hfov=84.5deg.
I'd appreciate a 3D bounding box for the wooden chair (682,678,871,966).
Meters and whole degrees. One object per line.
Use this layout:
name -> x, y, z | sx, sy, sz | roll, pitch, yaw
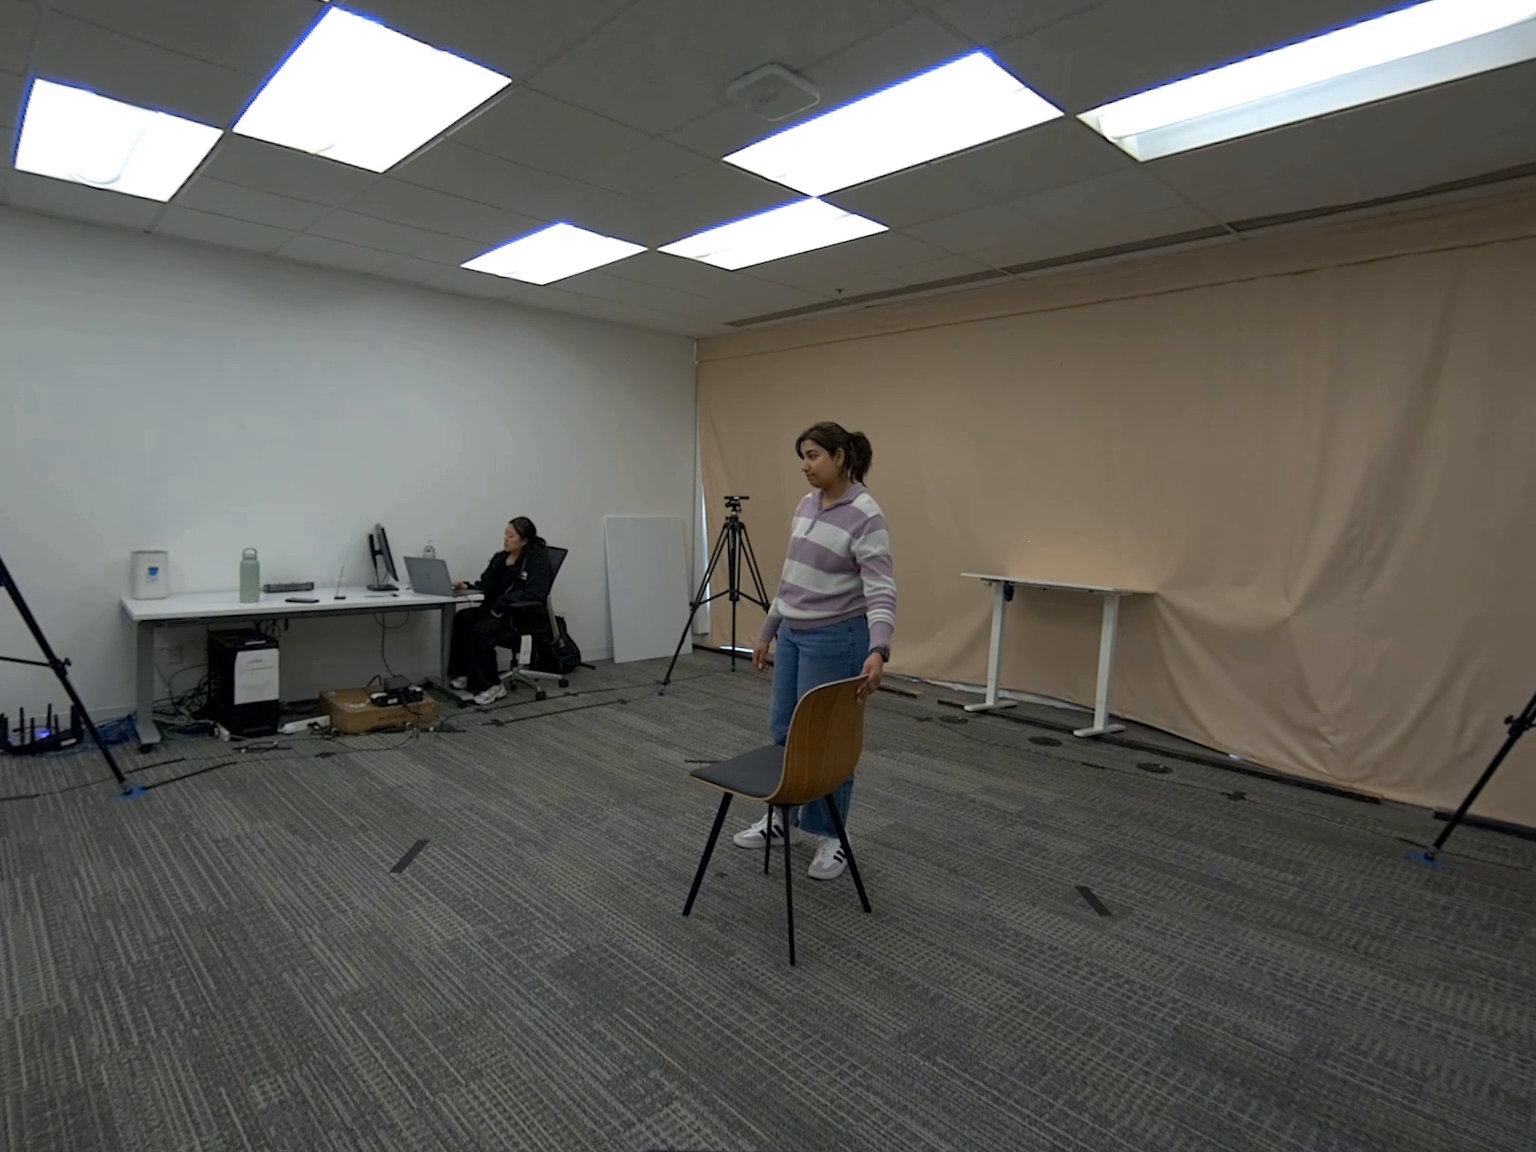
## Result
wooden chair -> 0.027, 0.708, 2.791 | 0.537, 0.873, 0.467 | 10, 8, 38
